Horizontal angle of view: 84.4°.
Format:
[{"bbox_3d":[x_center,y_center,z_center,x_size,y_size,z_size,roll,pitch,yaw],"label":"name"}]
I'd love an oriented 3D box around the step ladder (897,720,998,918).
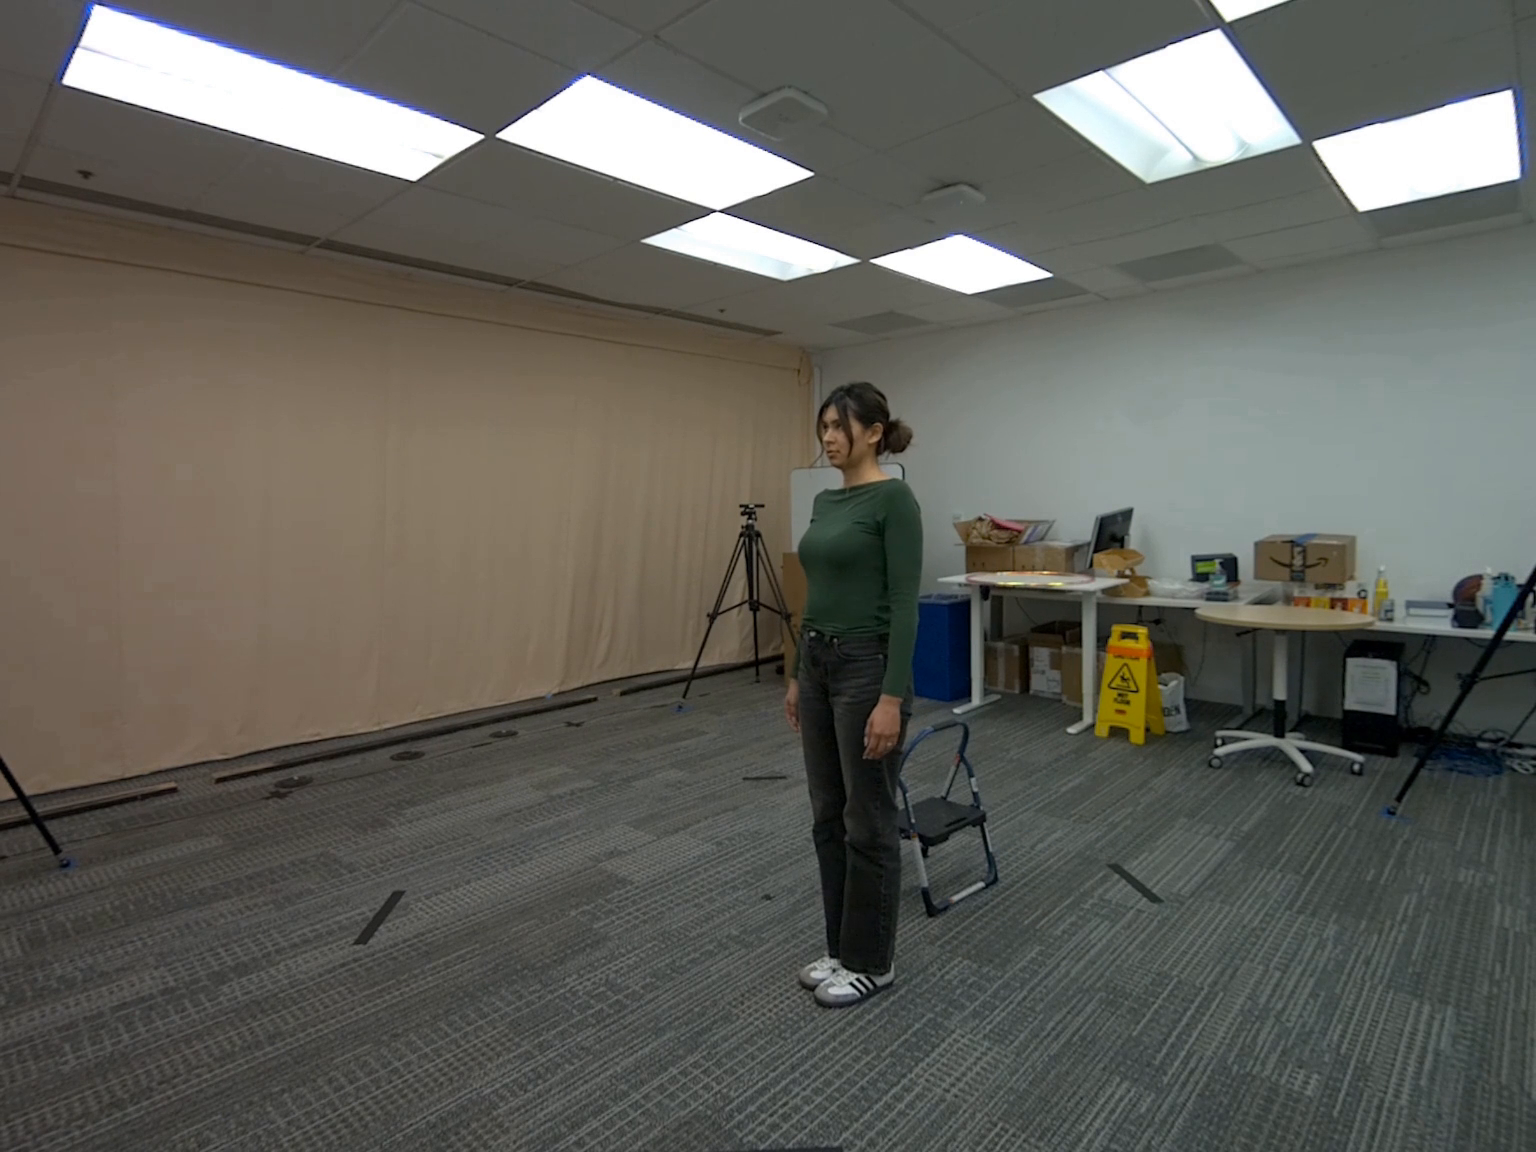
[{"bbox_3d":[0.578,0.819,3.053,0.417,0.604,0.361,-4,5,-43],"label":"step ladder"}]
